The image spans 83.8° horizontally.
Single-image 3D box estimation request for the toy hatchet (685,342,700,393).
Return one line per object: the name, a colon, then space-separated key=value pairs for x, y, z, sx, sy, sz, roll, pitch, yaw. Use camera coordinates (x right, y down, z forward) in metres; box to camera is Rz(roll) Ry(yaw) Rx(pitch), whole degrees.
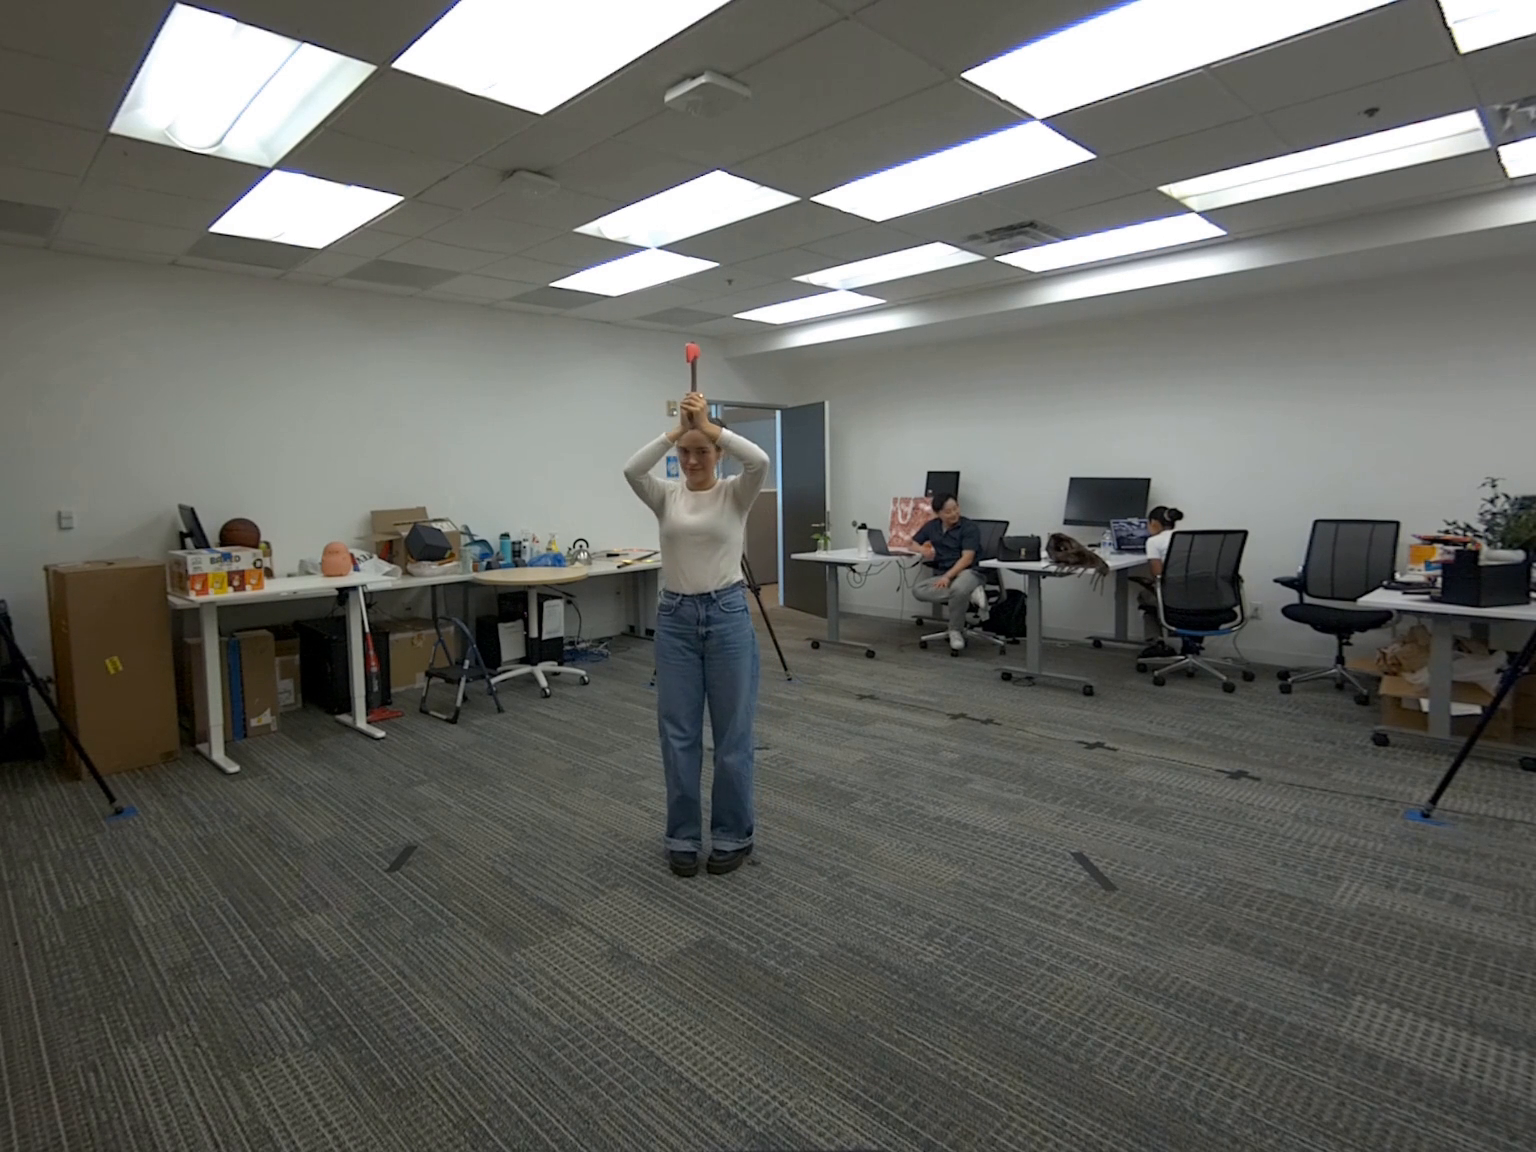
toy hatchet: x=-0.253 y=-0.670 z=2.884 sx=0.030 sy=0.274 sz=0.128 roll=-3 pitch=-17 yaw=8
